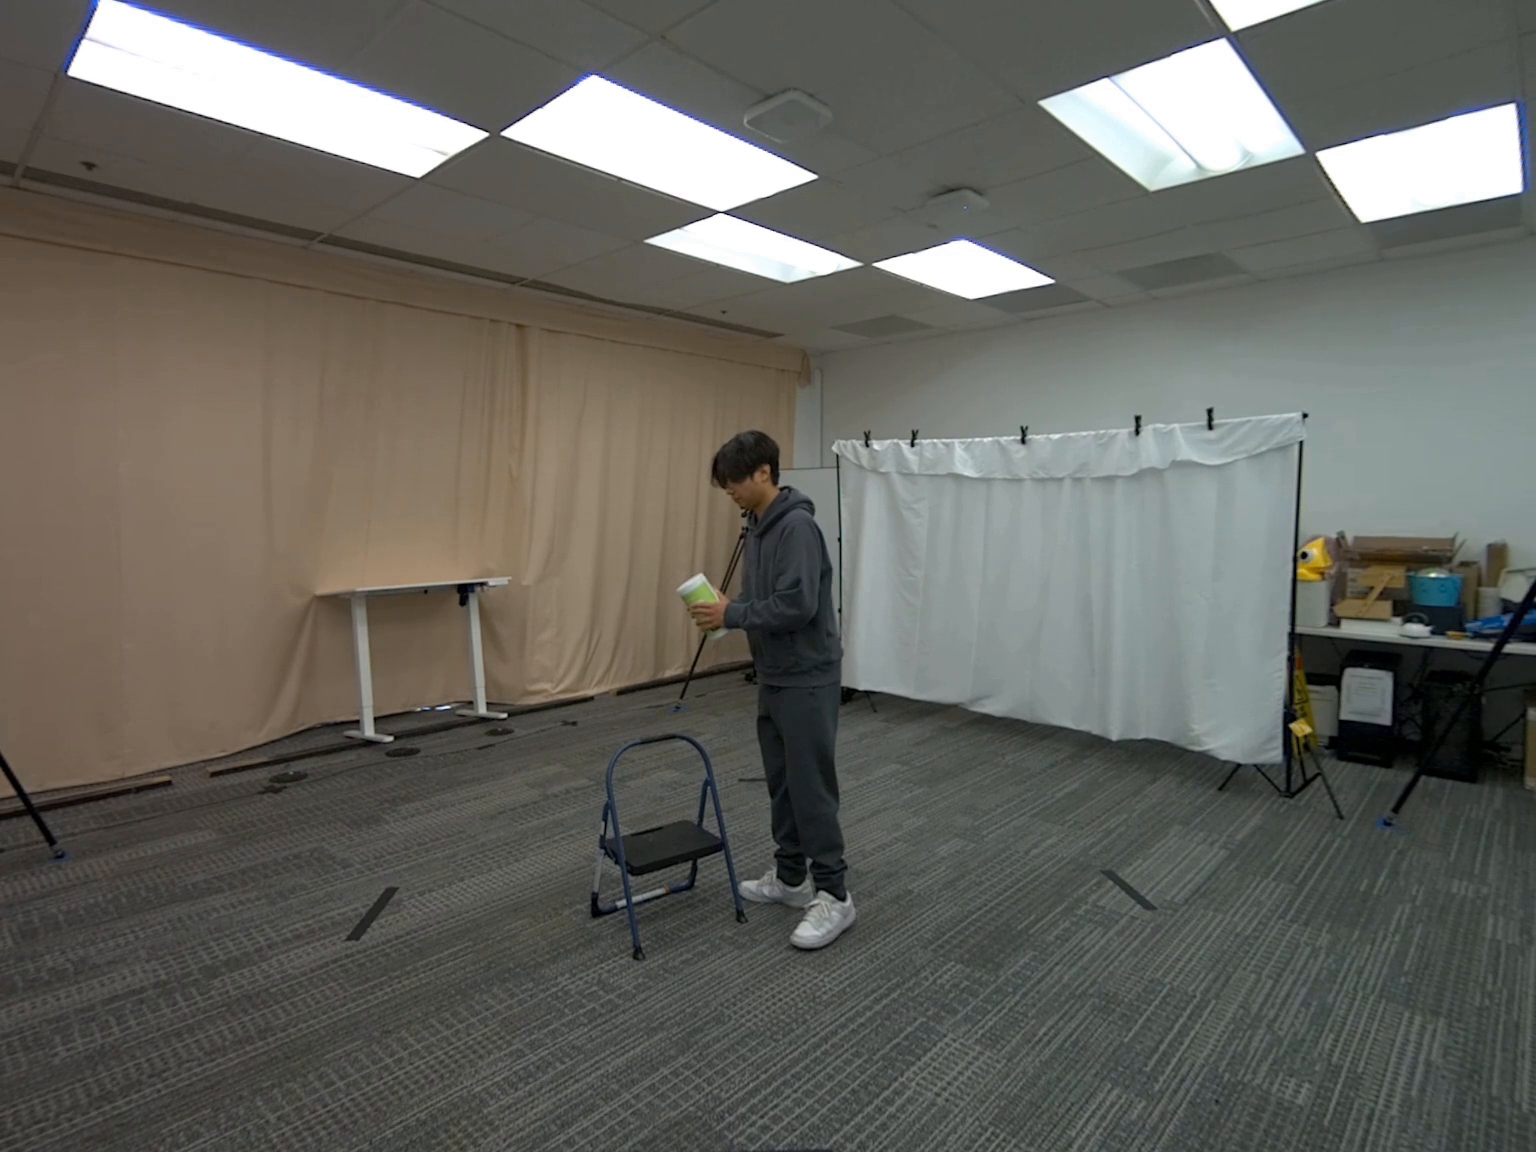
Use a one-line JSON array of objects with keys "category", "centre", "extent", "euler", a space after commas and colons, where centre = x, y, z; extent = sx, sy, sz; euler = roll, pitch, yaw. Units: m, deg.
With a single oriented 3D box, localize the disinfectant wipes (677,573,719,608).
[{"category": "disinfectant wipes", "centre": [-0.202, 0.105, 2.866], "extent": [0.118, 0.216, 0.118], "euler": [-36, 5, 2]}]
